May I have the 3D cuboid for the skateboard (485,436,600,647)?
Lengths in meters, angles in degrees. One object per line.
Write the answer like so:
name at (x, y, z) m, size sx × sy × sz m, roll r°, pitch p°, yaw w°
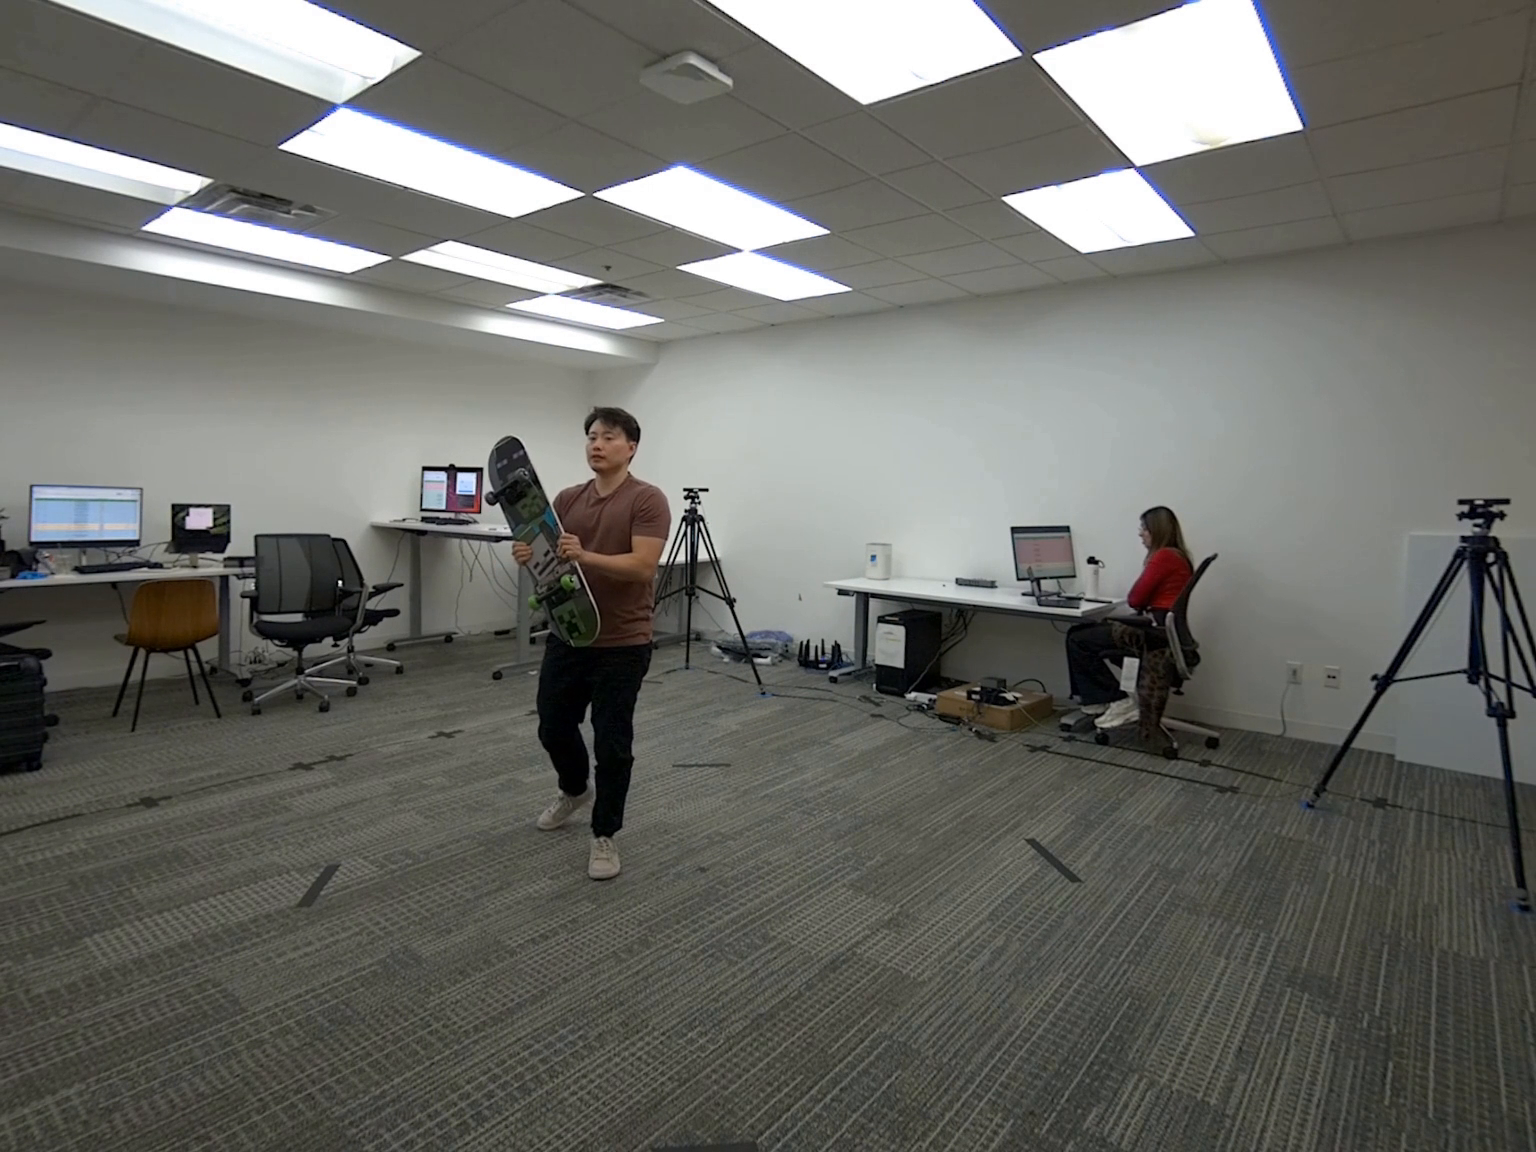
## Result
skateboard at (-0.793, -0.125, 2.862) m, size 0.195 × 0.798 × 0.107 m, roll -31°, pitch -12°, yaw 23°
